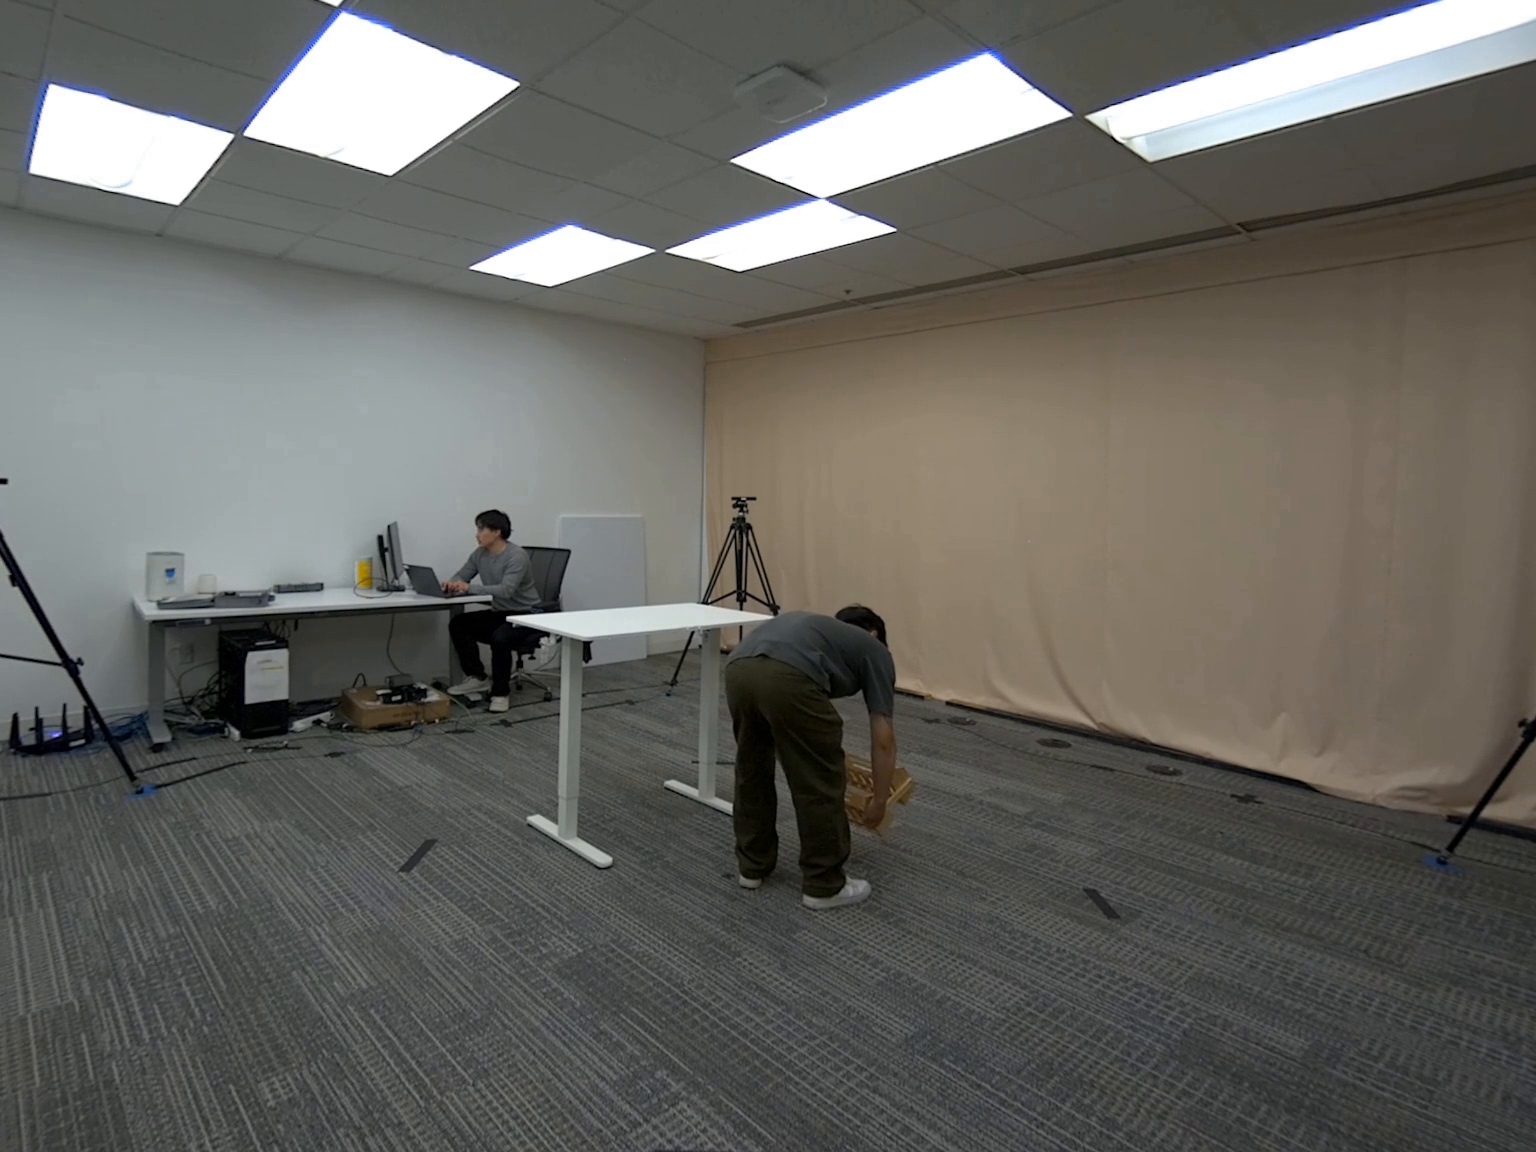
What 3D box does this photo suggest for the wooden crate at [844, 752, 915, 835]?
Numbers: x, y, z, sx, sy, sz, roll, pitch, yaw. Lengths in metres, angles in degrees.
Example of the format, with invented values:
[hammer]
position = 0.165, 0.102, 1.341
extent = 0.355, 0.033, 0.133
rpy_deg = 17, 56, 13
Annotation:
[wooden crate]
position = 0.348, 0.806, 3.282
extent = 0.333, 0.274, 0.293
rpy_deg = 10, -34, 39
